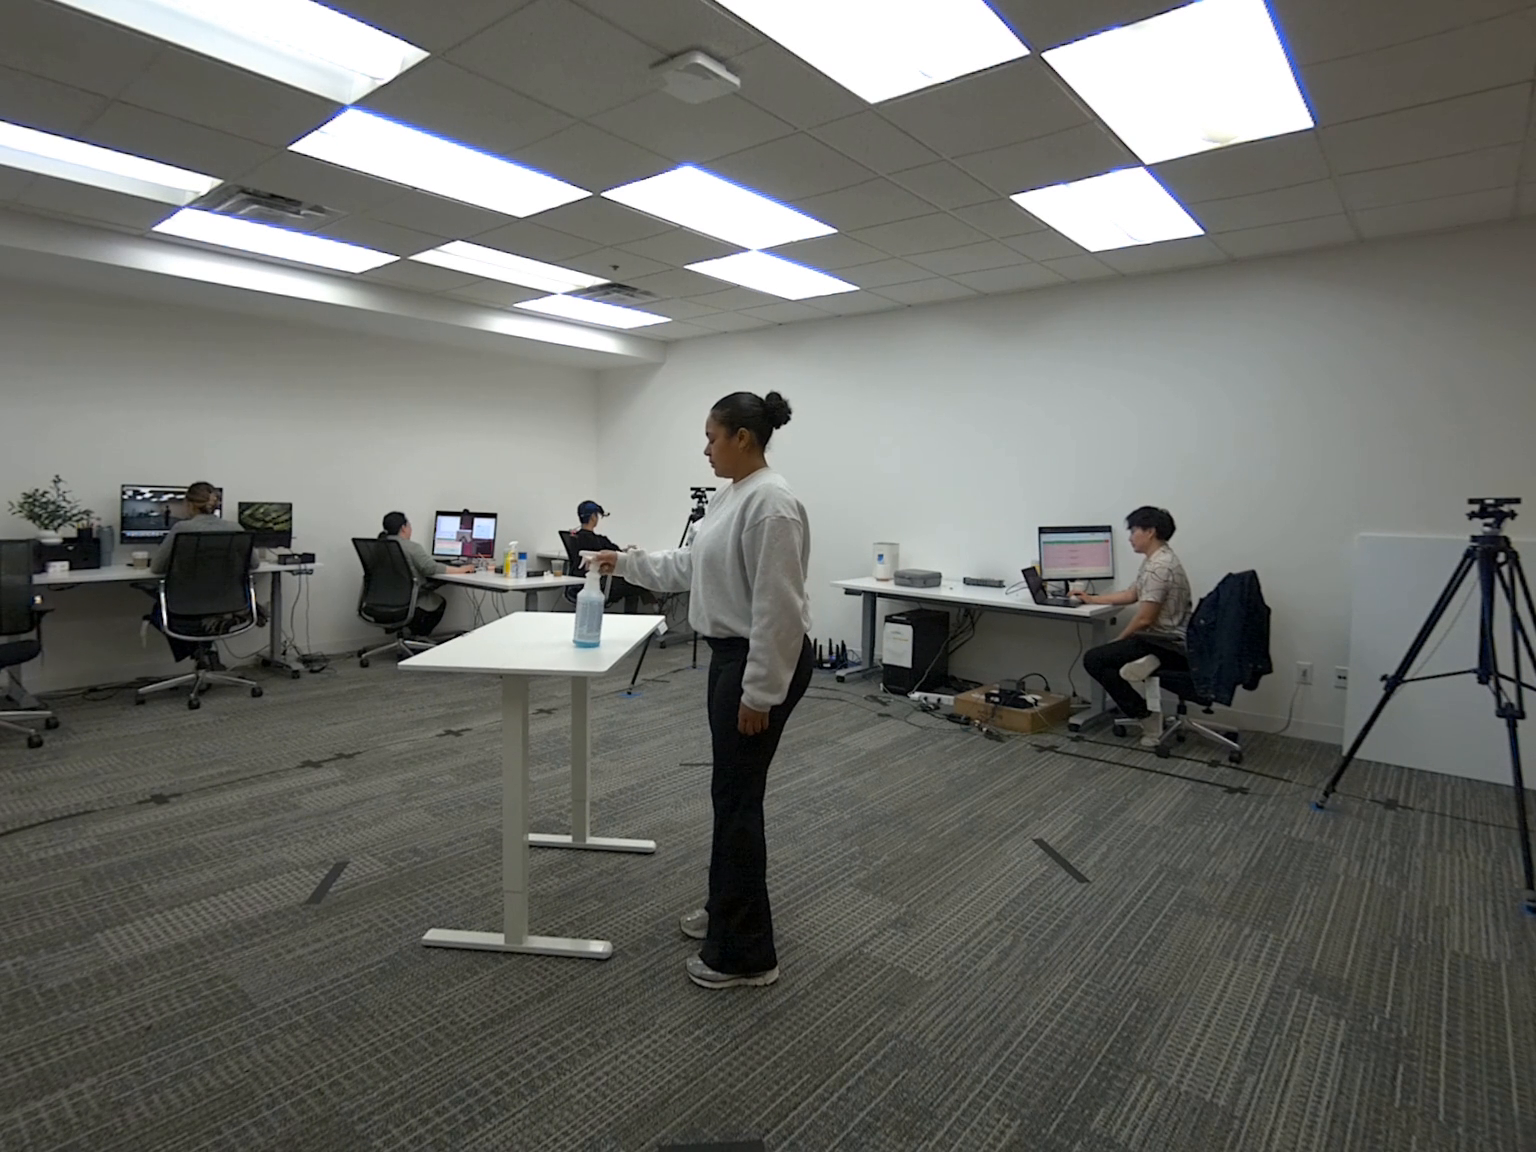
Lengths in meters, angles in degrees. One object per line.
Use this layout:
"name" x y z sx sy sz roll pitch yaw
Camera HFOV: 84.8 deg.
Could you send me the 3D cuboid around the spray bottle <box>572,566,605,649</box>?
"spray bottle" -0.560 0.067 2.690 0.090 0.297 0.087 5 2 -2
